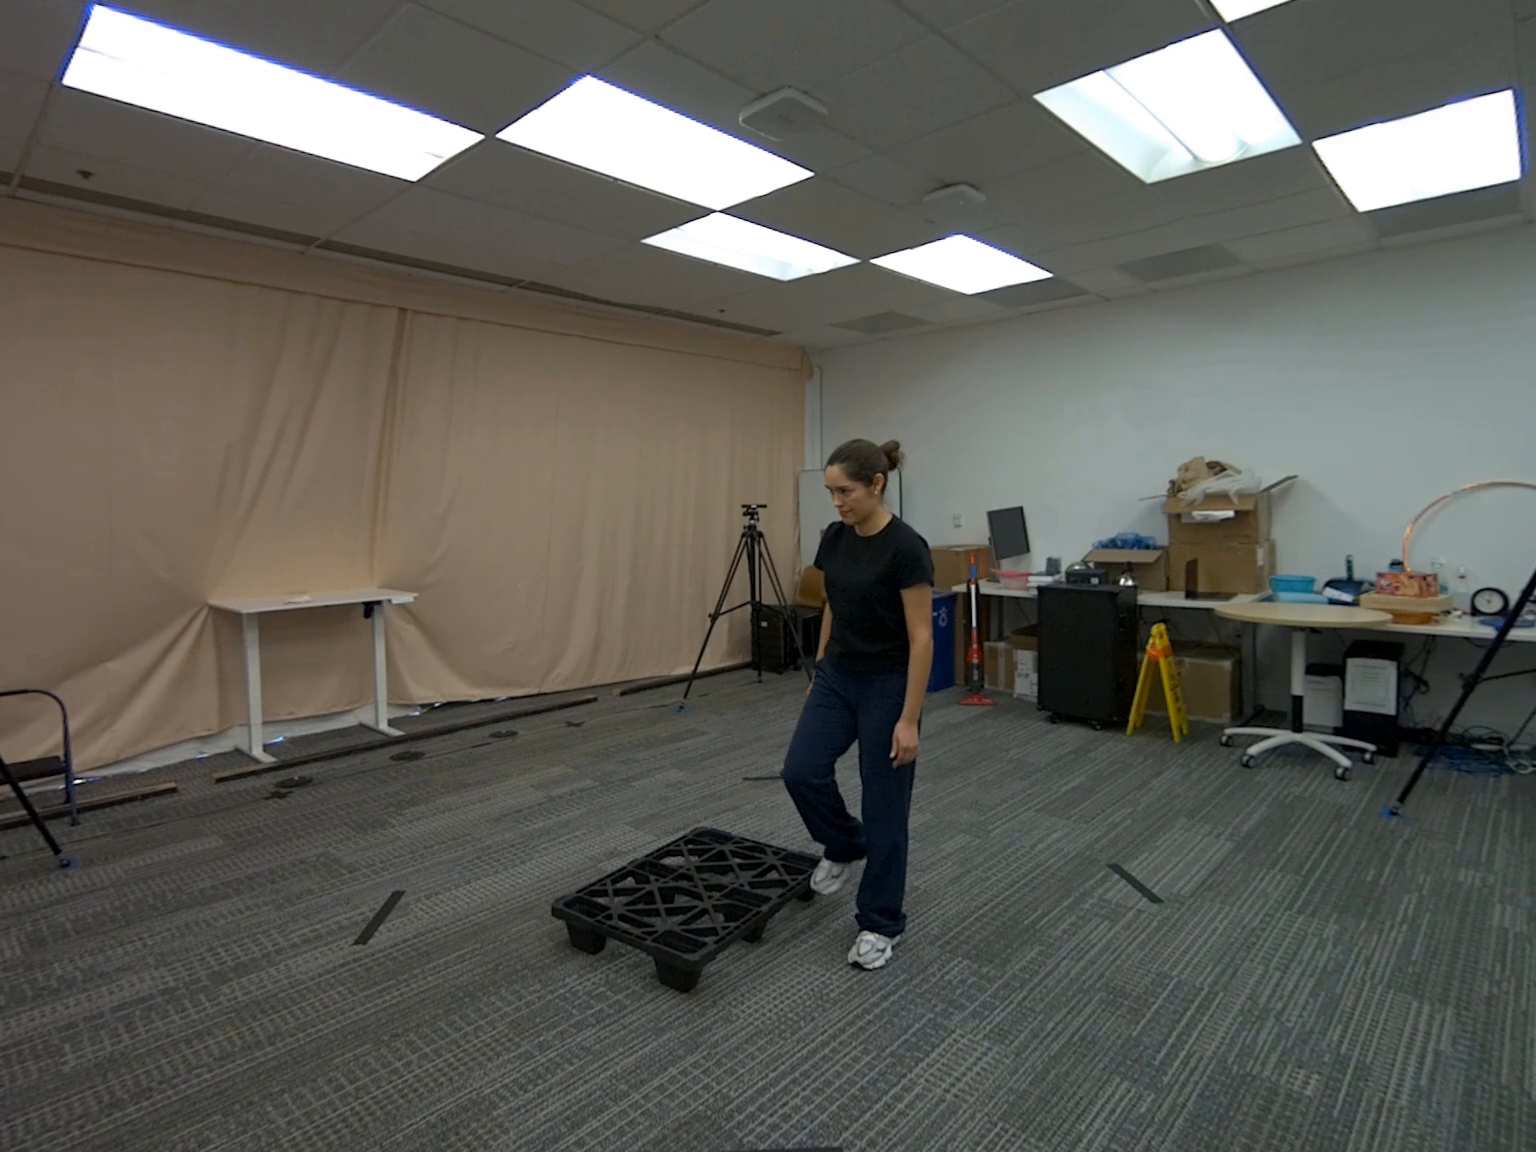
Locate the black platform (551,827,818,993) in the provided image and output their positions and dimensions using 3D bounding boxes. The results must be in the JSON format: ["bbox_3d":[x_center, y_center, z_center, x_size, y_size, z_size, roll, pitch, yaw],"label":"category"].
[{"bbox_3d":[-0.209,1.091,2.830,0.624,0.143,0.783,3,7,35],"label":"black platform"}]
